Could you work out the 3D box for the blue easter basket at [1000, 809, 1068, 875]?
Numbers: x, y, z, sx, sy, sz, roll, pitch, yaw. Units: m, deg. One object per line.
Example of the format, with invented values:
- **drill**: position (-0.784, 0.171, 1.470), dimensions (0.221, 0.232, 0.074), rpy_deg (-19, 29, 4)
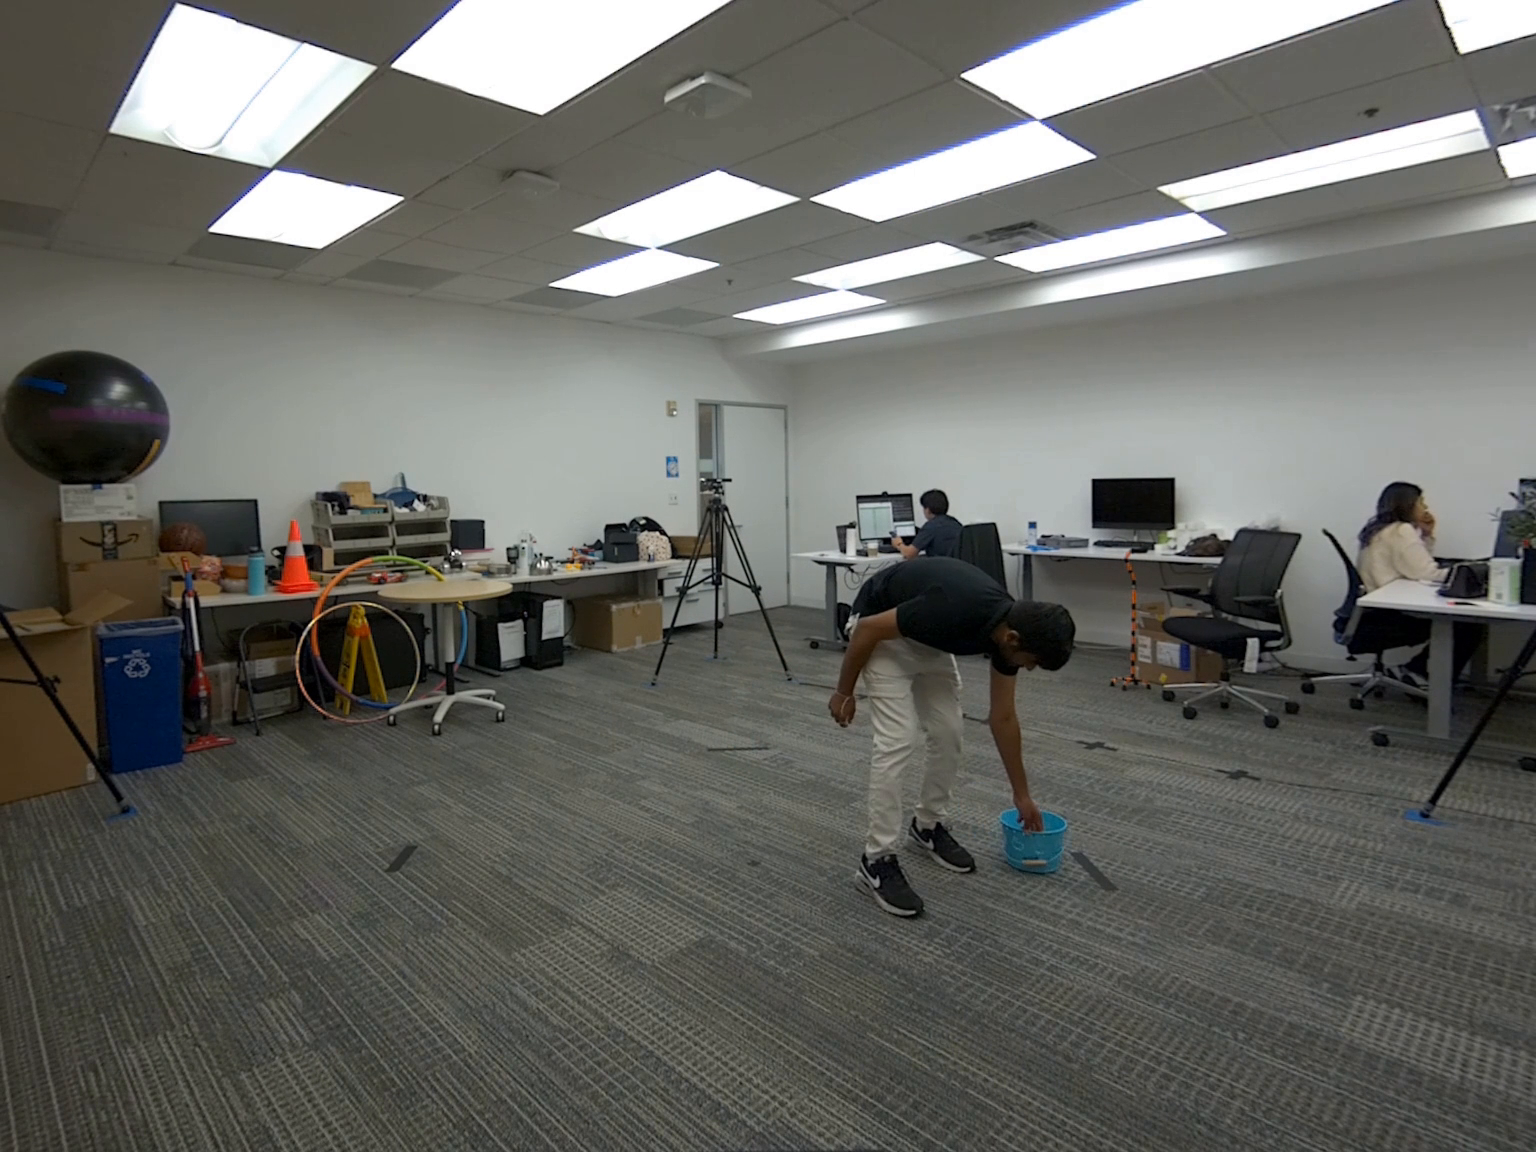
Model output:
- **blue easter basket**: position (0.951, 0.954, 3.070), dimensions (0.243, 0.155, 0.244), rpy_deg (-2, 4, -2)
